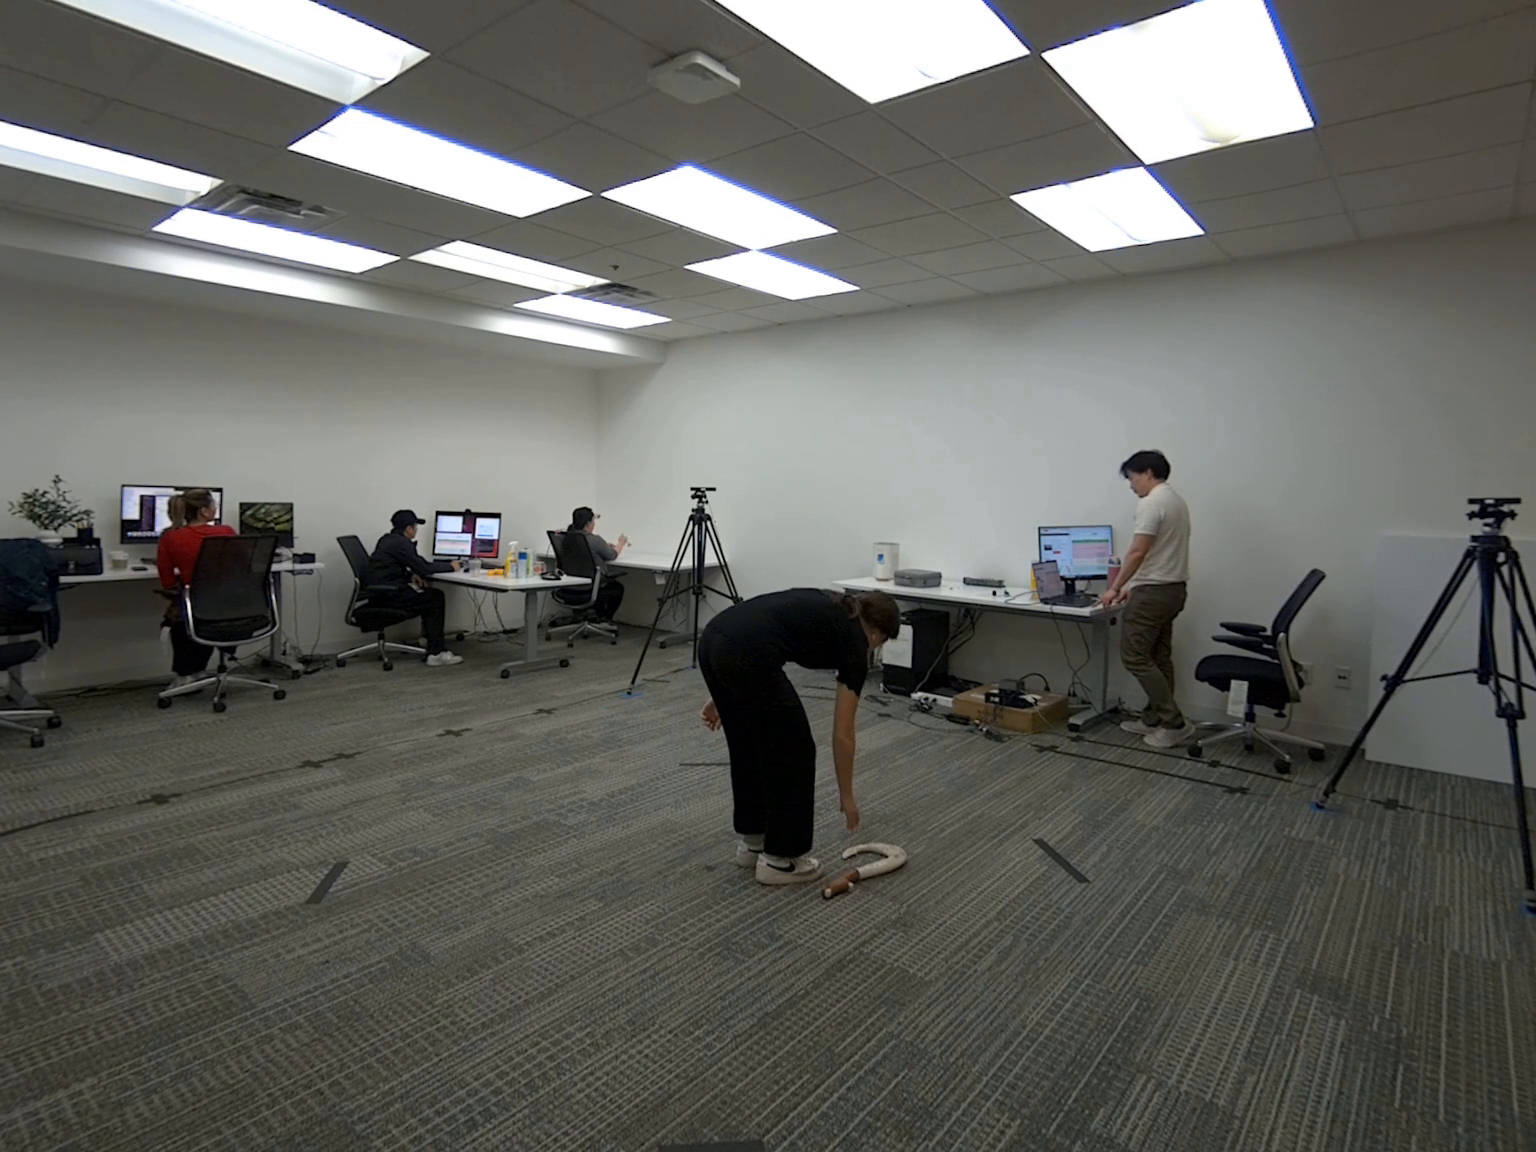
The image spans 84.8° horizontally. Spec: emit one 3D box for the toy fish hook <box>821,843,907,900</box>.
[{"bbox_3d":[0.305,1.065,3.105,0.231,0.048,0.491,-4,0,42],"label":"toy fish hook"}]
